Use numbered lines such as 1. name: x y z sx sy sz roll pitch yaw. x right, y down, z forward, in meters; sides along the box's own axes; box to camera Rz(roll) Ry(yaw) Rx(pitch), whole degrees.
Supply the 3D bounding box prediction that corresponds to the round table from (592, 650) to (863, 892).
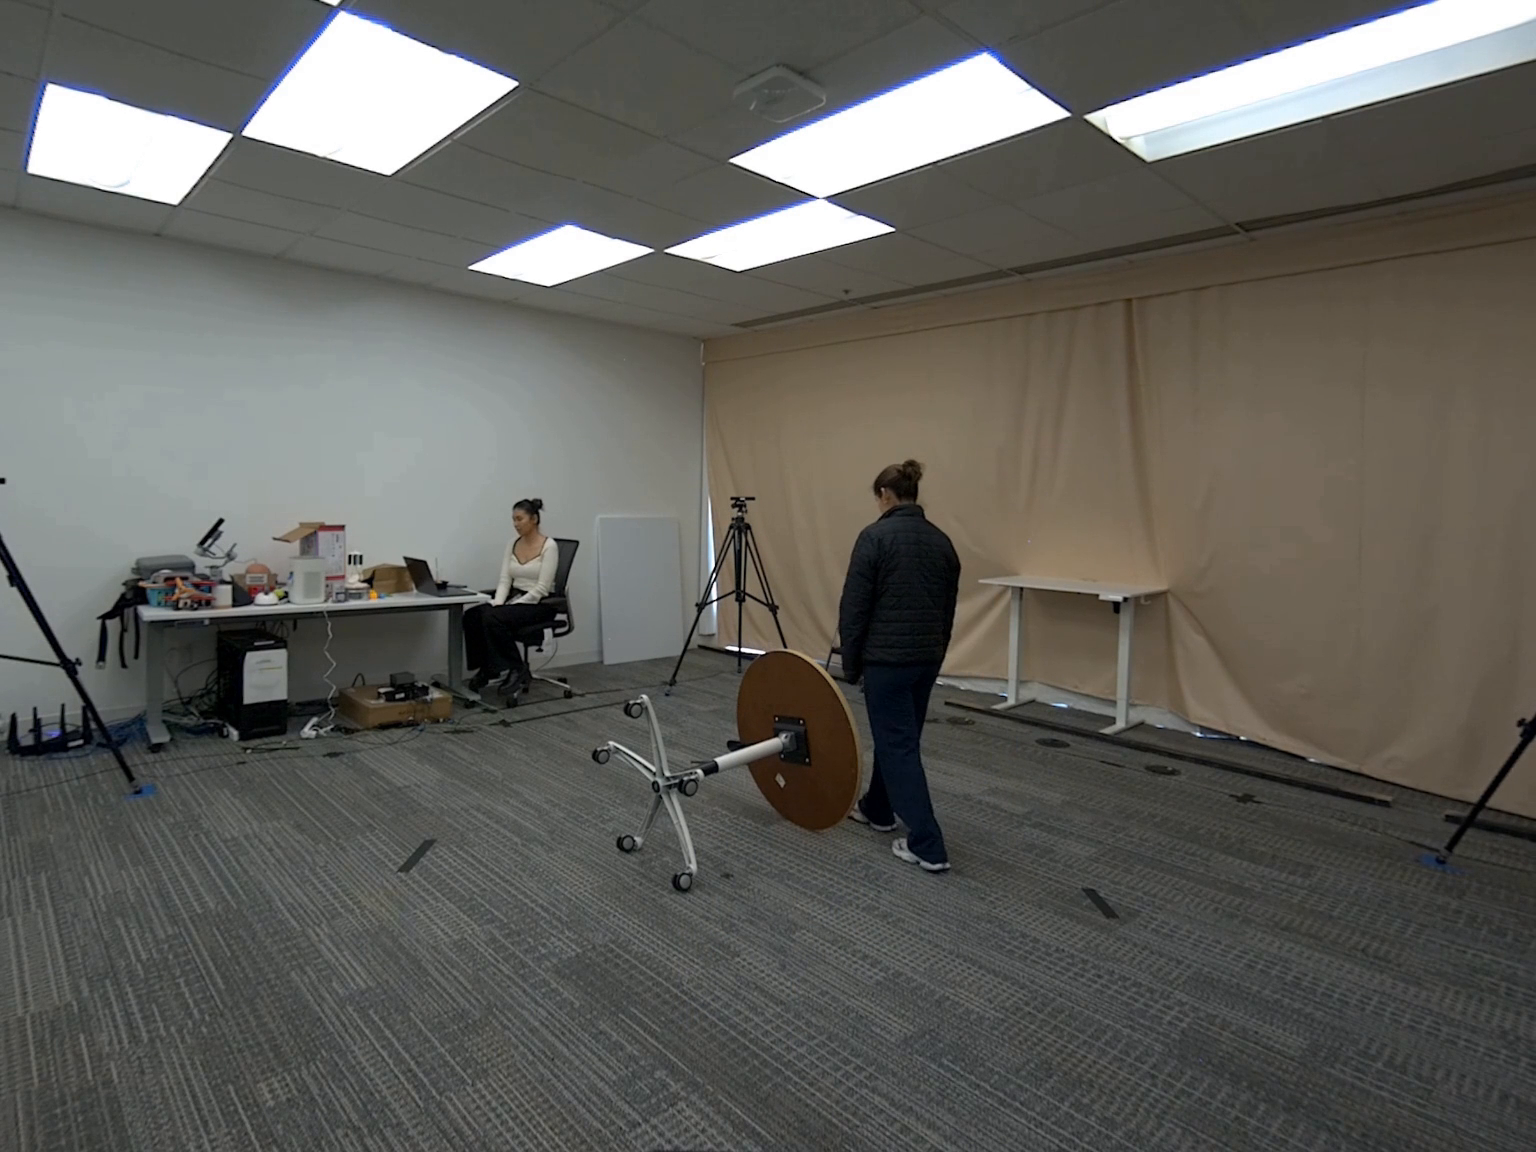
1. round table: -0.191 0.746 3.340 0.771 0.781 0.805 -8 9 -38
